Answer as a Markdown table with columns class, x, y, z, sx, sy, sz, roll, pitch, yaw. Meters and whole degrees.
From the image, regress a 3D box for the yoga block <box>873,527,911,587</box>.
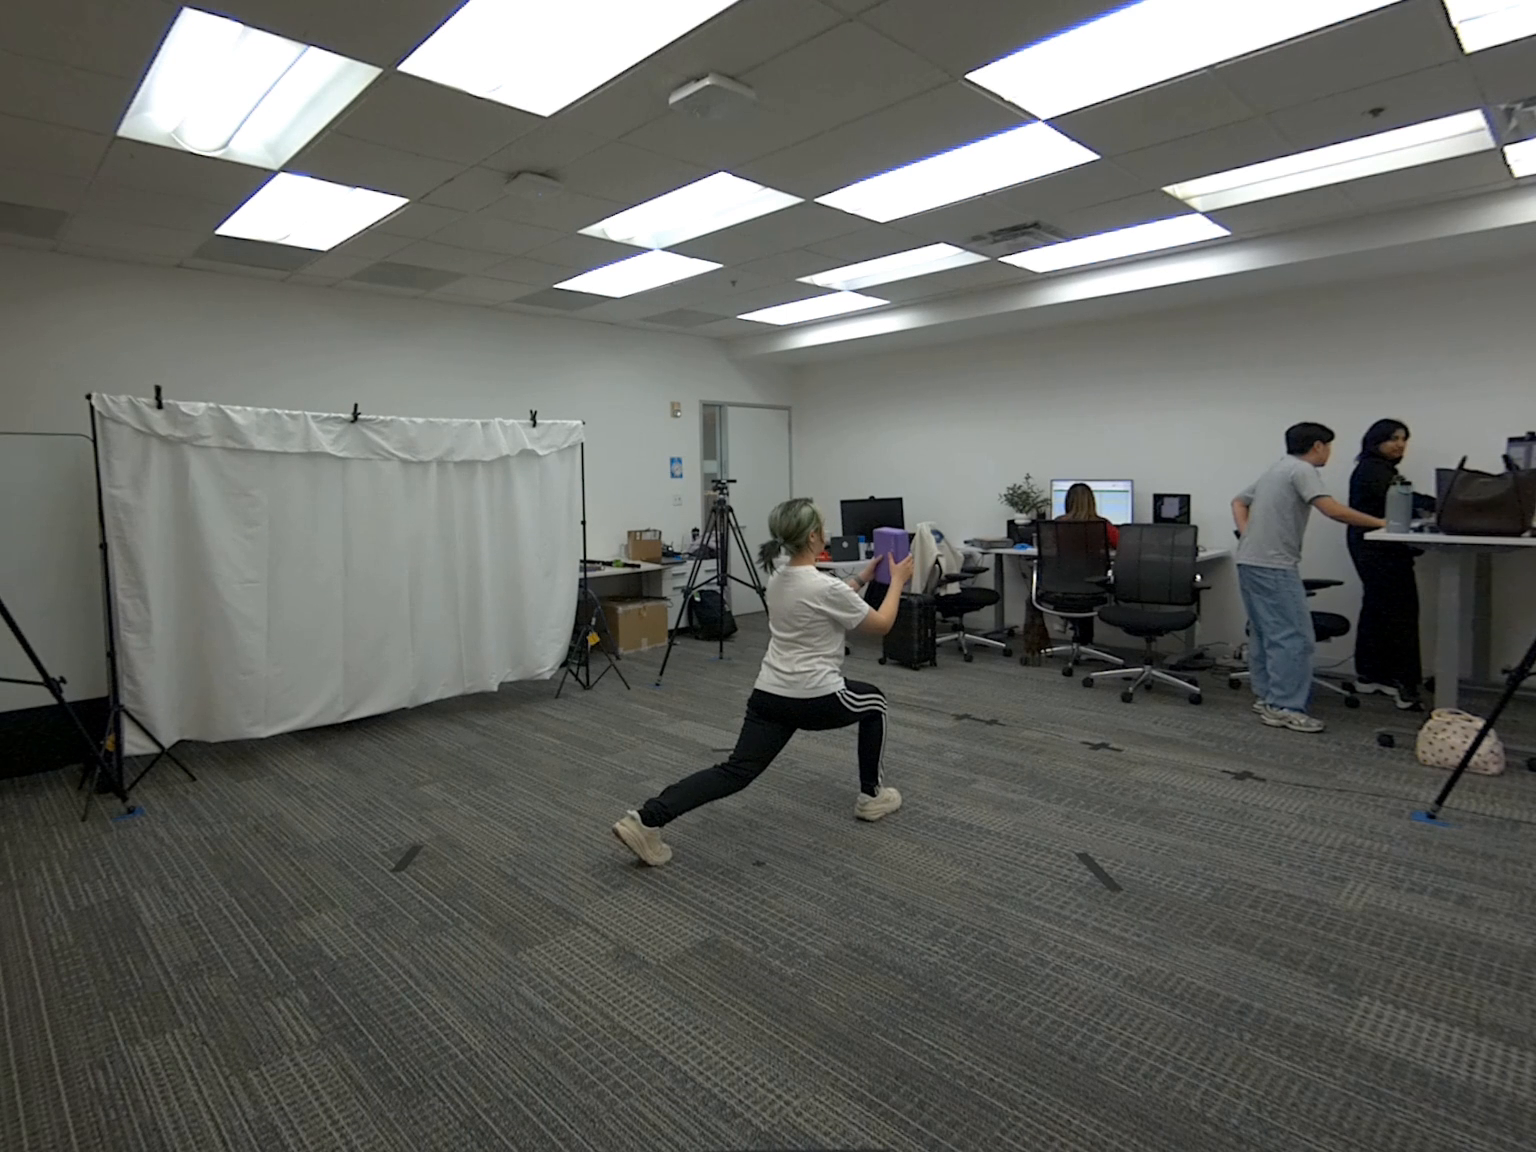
| class | x | y | z | sx | sy | sz | roll | pitch | yaw |
| --- | --- | --- | --- | --- | --- | --- | --- | --- | --- |
| yoga block | 0.523 | -0.079 | 3.600 | 0.075 | 0.227 | 0.154 | -8 | 12 | -32 |
